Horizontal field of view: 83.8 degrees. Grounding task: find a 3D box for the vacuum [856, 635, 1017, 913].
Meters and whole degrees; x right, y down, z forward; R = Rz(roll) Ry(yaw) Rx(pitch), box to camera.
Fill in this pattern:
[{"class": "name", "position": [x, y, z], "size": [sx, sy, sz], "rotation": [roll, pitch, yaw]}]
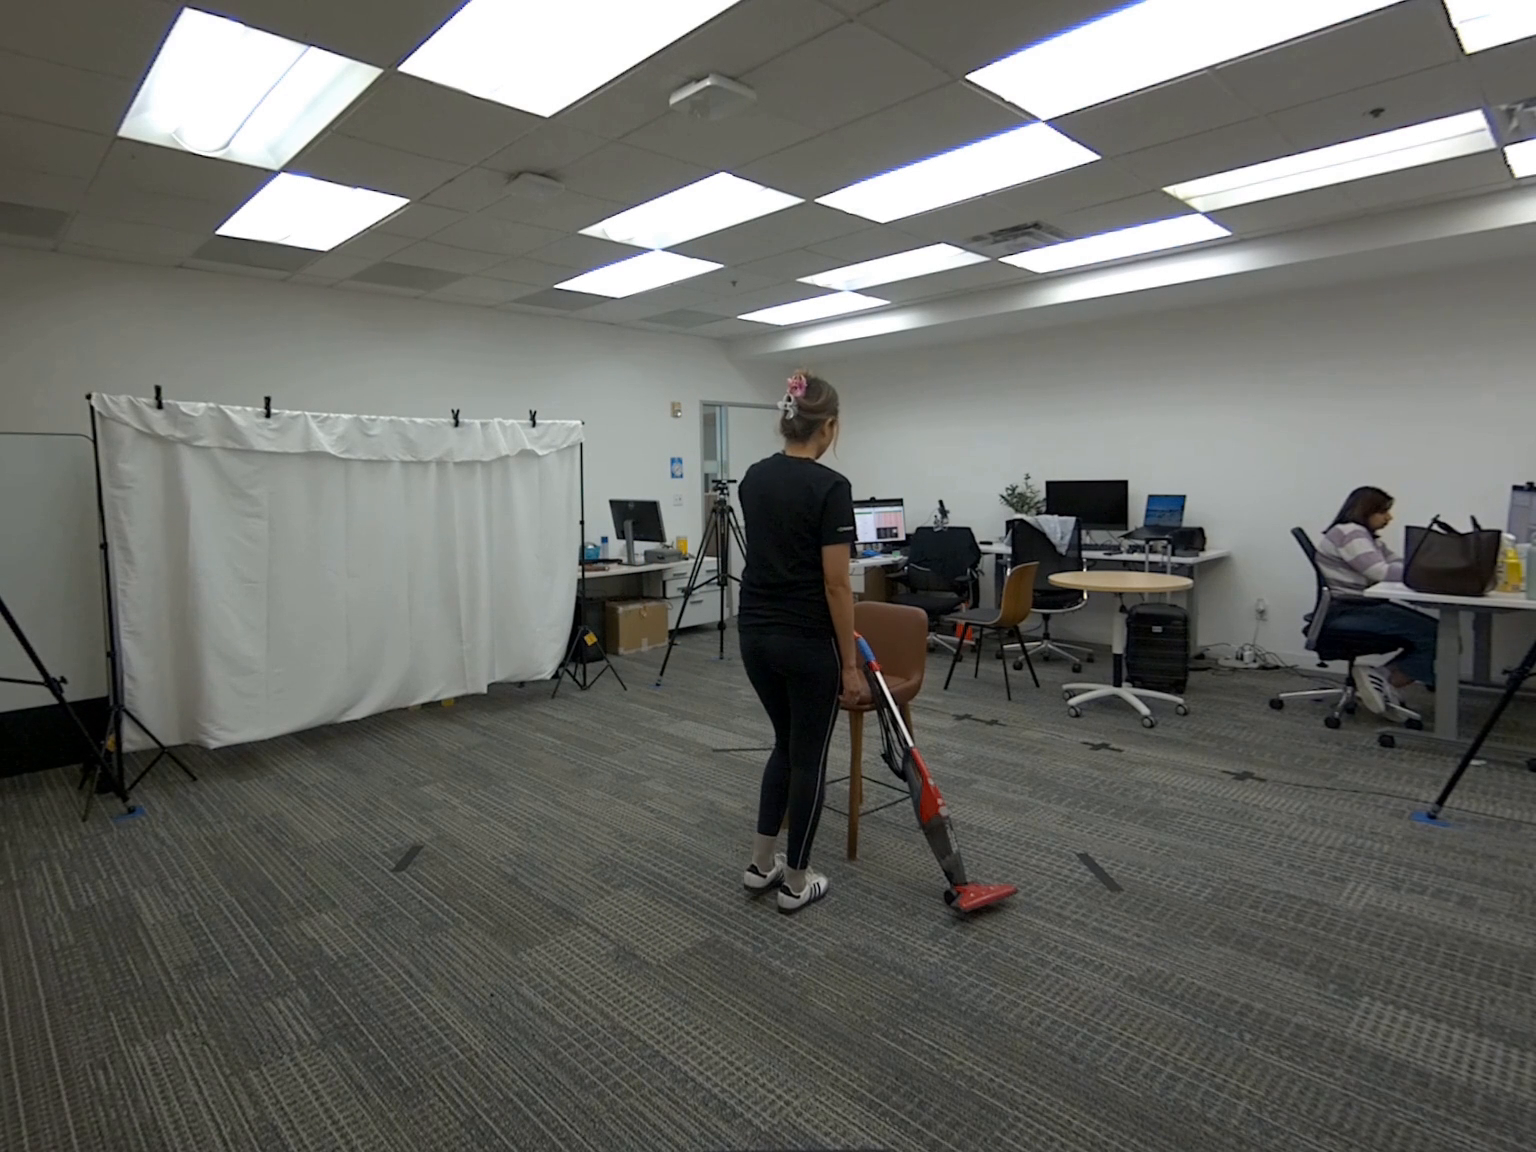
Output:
[{"class": "vacuum", "position": [0.491, 0.628, 3.024], "size": [0.245, 1.083, 0.143], "rotation": [0, -38, -37]}]
